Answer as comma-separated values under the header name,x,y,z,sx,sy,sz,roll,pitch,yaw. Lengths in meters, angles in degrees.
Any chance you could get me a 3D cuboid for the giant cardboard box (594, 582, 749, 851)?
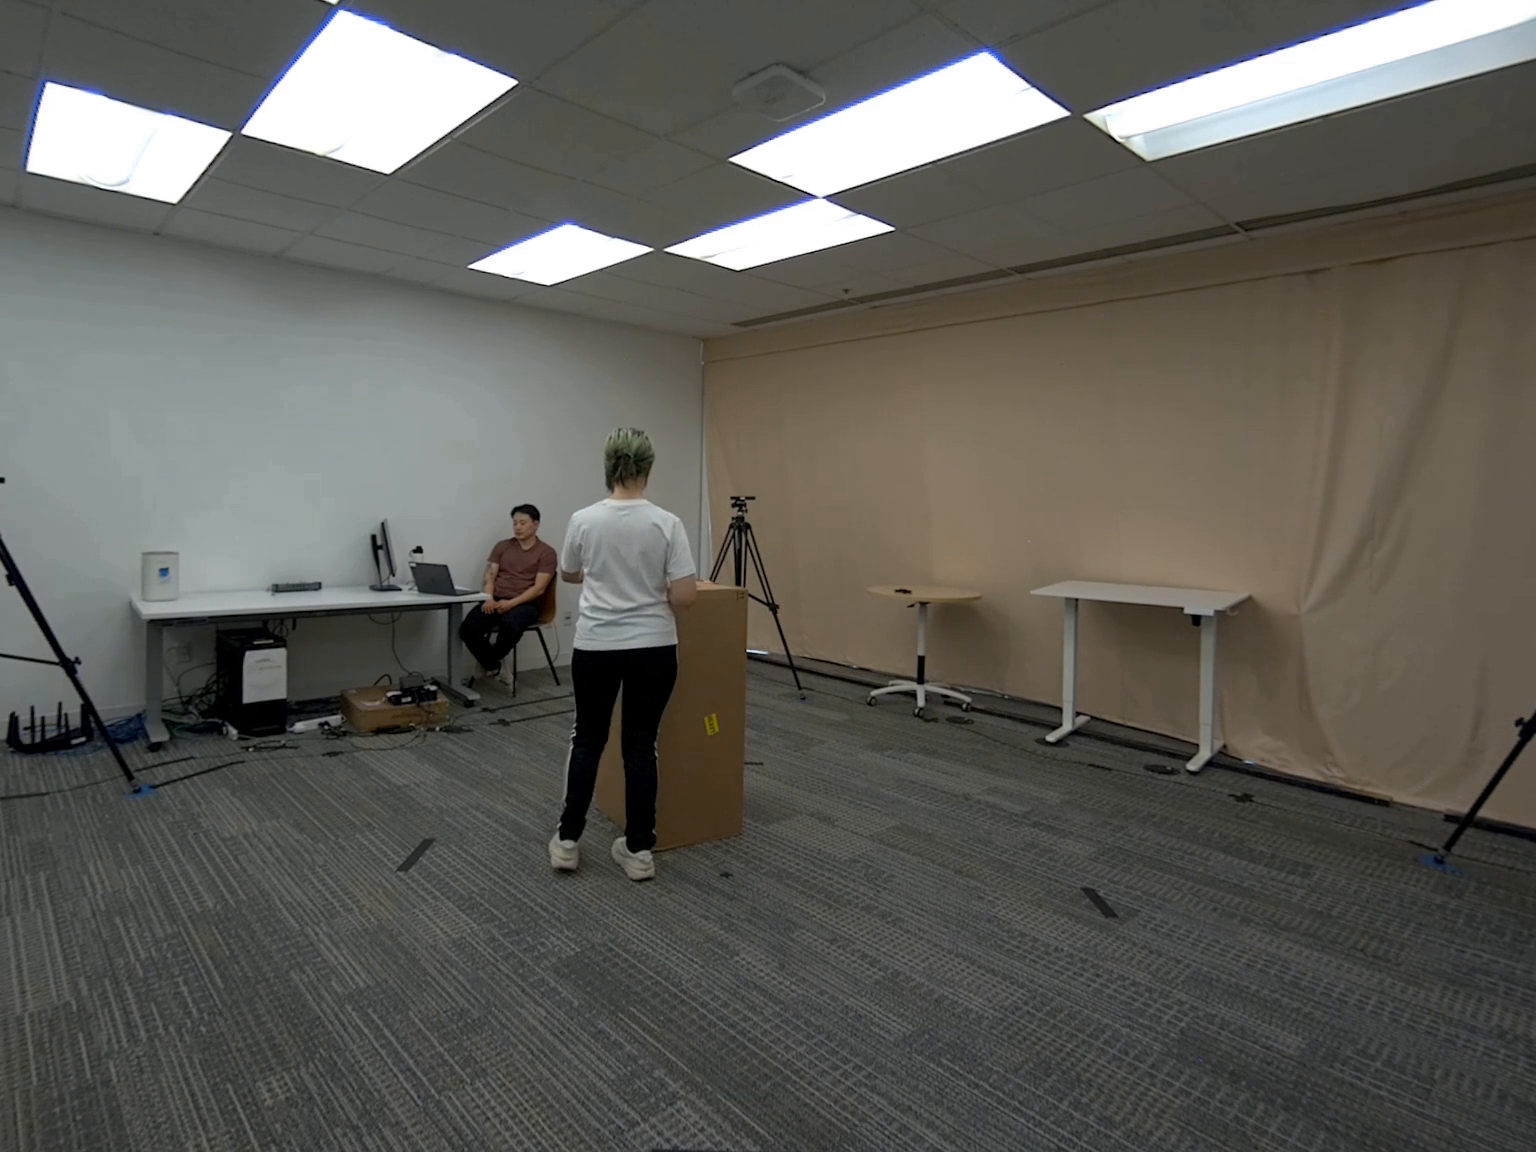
name,x,y,z,sx,sy,sz,roll,pitch,yaw
giant cardboard box,-0.430,0.546,3.609,0.437,1.025,0.598,-1,4,-34
